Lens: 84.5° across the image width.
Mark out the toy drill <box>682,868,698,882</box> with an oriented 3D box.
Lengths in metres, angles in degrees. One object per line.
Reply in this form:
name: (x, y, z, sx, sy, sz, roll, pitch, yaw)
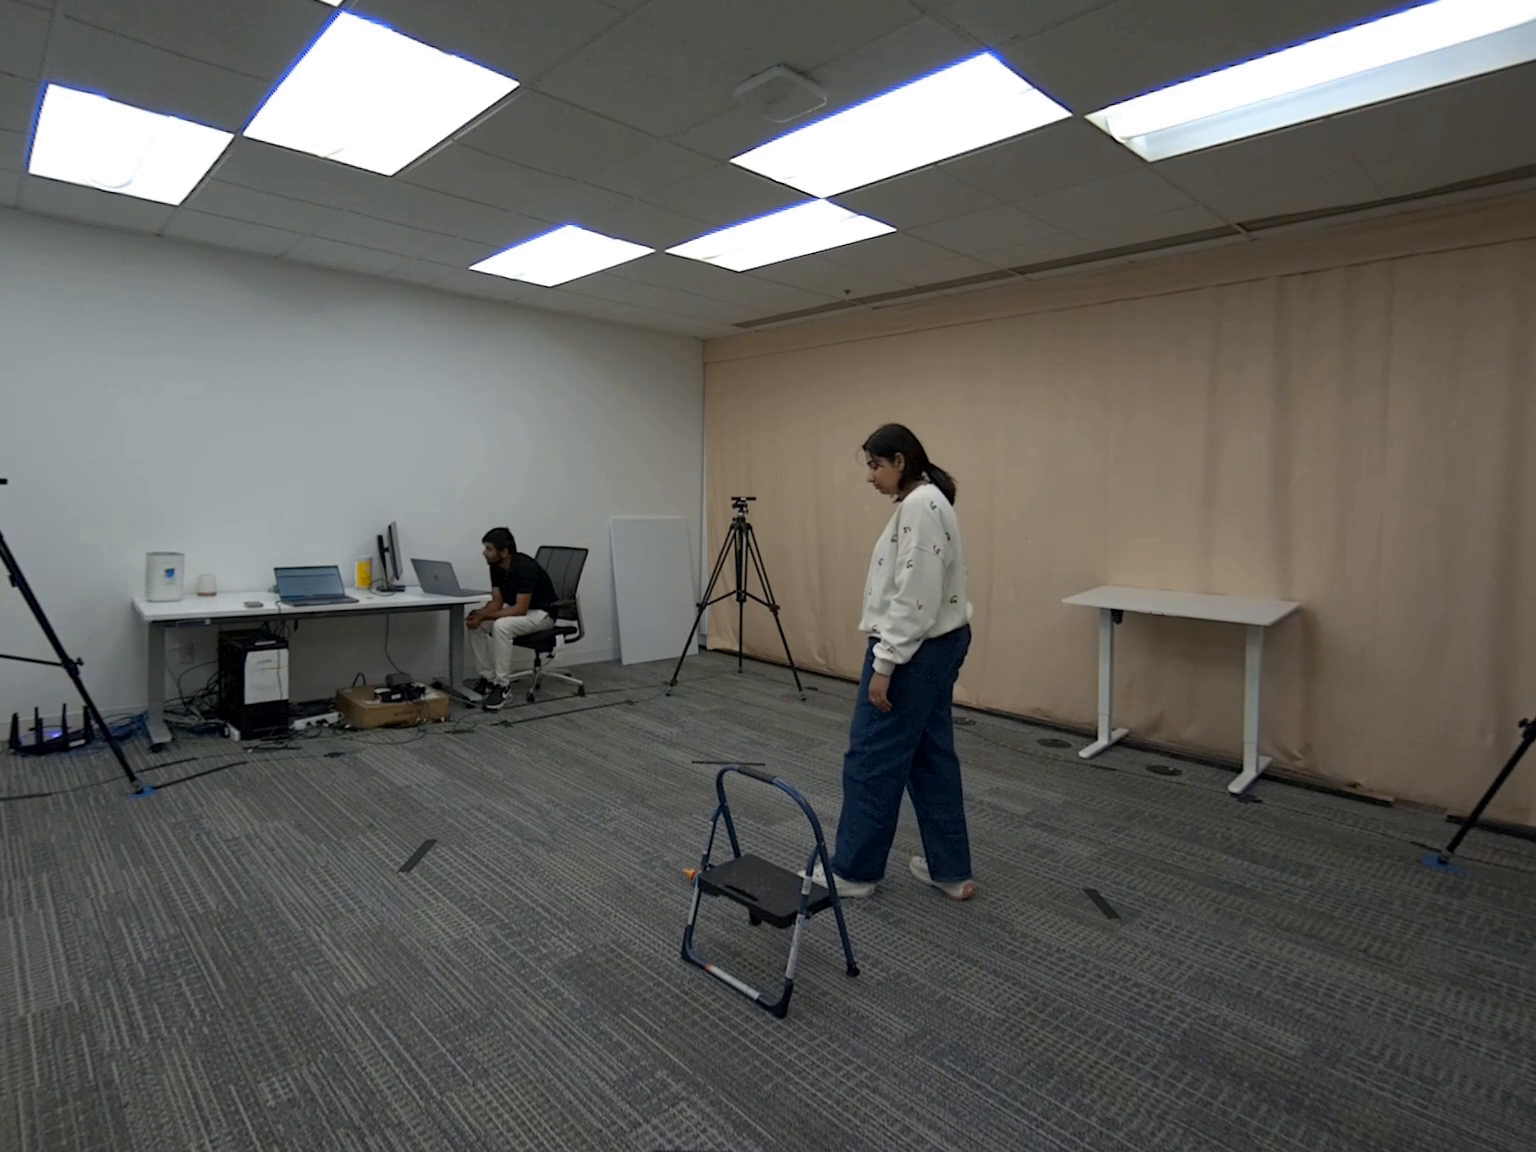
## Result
toy drill: (-0.211, 1.078, 3.035, 0.174, 0.061, 0.143, 9, 9, 35)
